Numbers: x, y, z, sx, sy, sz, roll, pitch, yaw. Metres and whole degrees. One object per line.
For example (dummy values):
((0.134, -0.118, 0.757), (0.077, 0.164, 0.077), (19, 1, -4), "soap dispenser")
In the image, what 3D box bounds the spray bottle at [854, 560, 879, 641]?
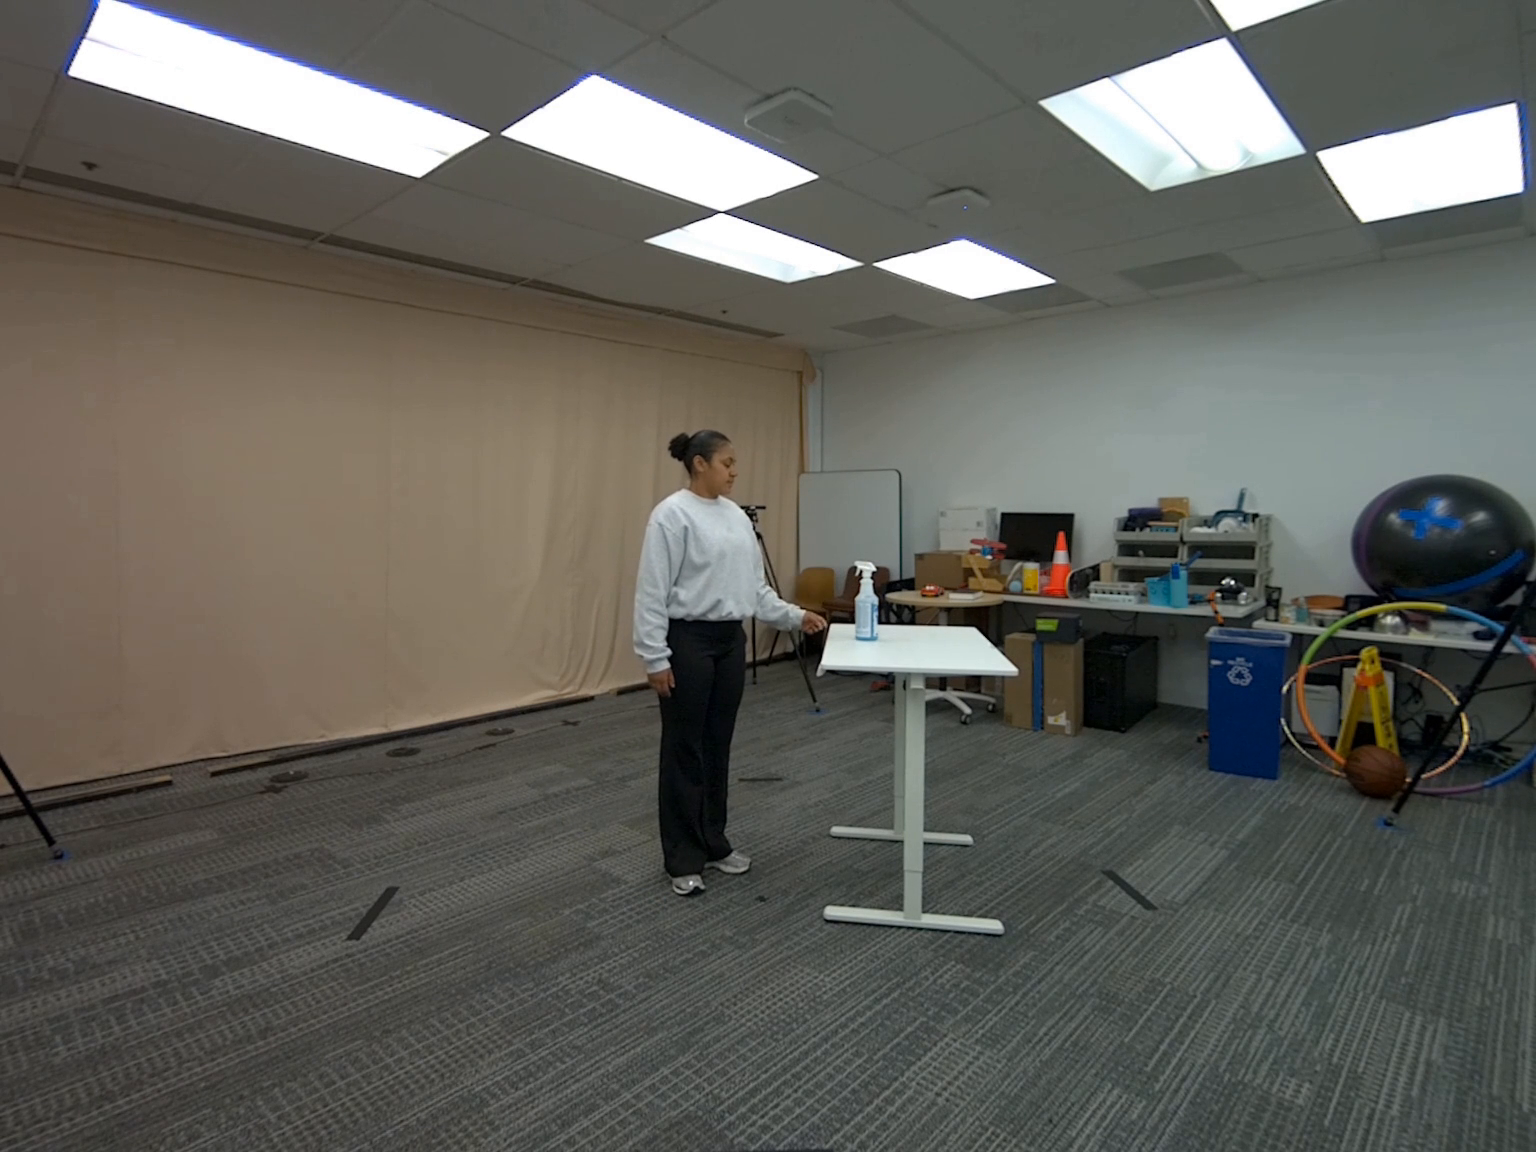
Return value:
((0.382, 0.097, 3.190), (0.085, 0.297, 0.092), (-1, 1, -23), "spray bottle")
